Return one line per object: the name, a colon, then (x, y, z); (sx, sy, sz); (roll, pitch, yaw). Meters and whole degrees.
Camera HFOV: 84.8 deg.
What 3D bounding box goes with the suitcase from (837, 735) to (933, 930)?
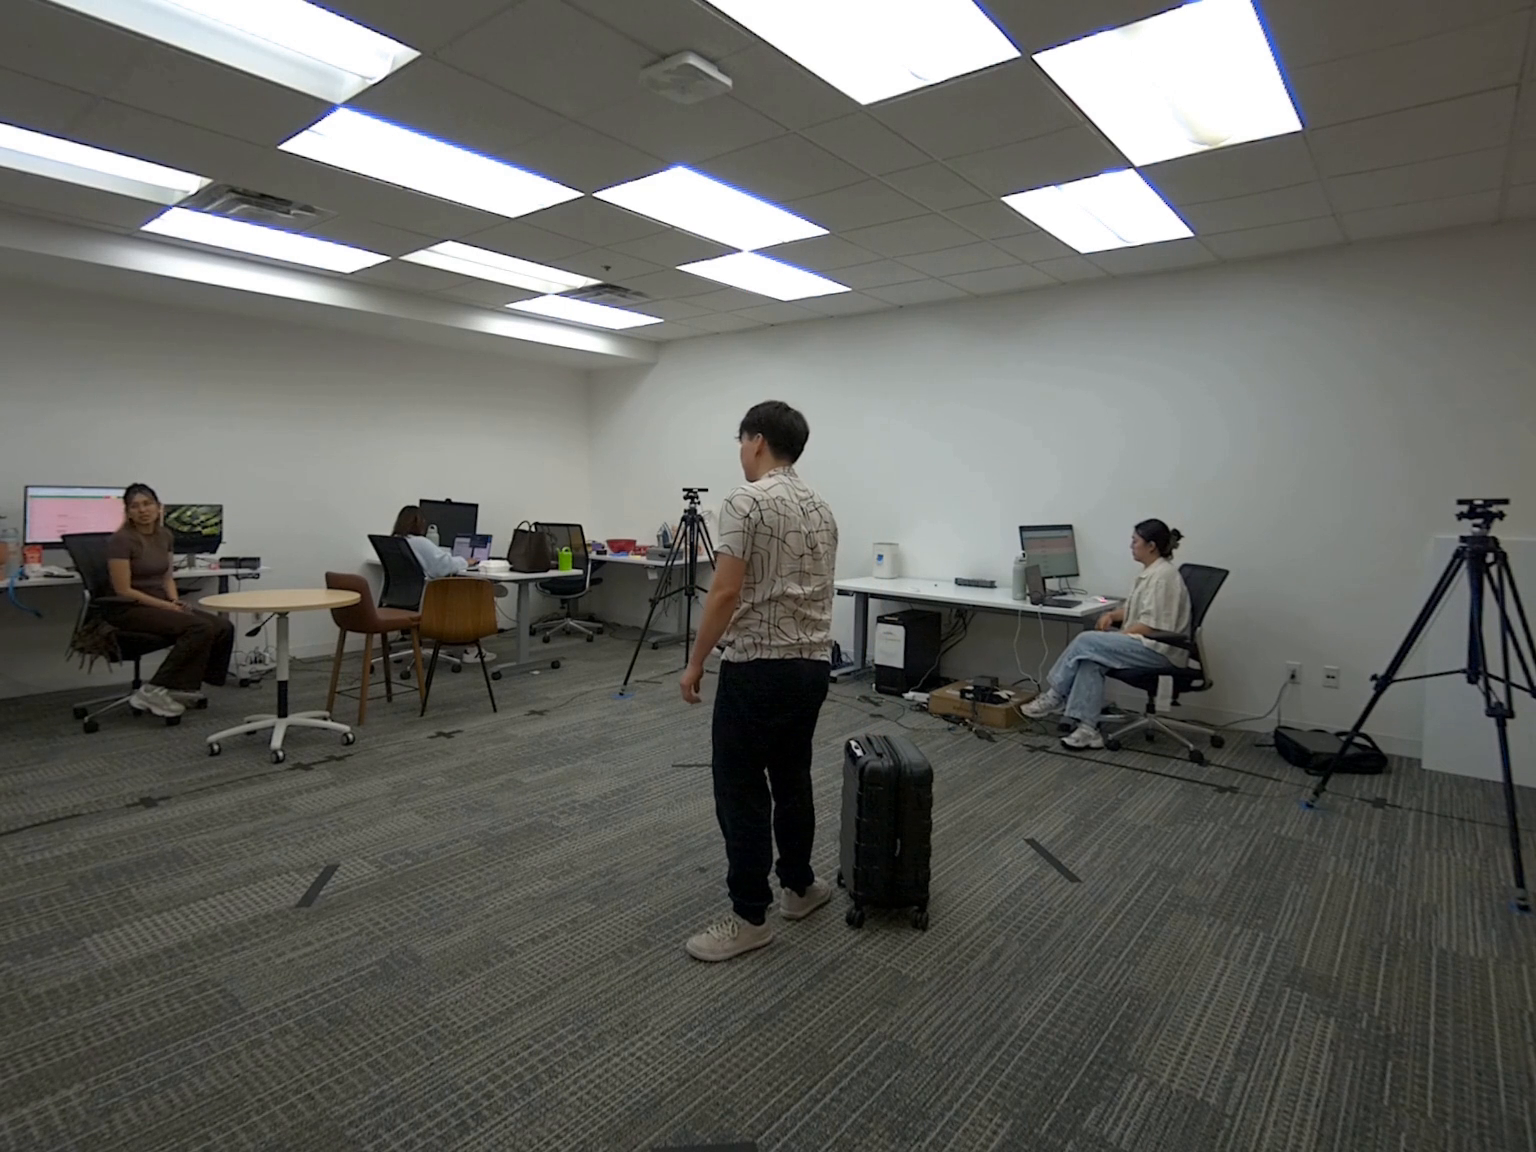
suitcase: (0.389, 0.830, 2.878); (0.248, 0.548, 0.377); (1, 3, -4)
